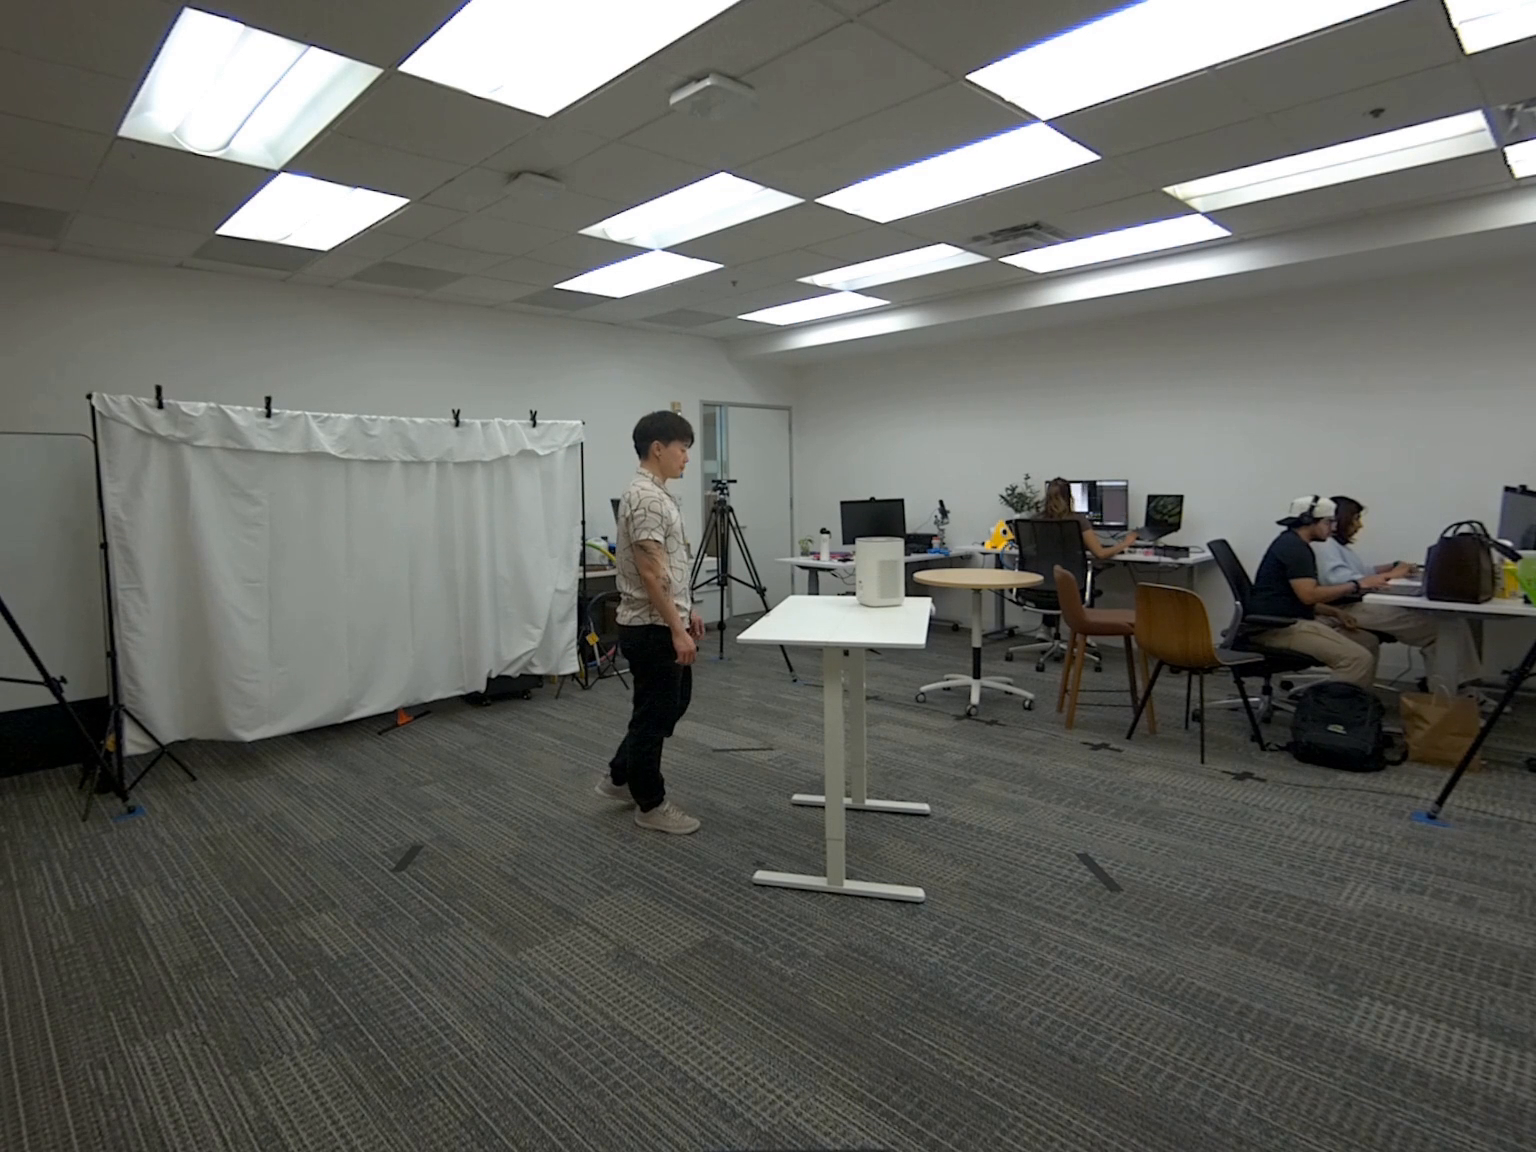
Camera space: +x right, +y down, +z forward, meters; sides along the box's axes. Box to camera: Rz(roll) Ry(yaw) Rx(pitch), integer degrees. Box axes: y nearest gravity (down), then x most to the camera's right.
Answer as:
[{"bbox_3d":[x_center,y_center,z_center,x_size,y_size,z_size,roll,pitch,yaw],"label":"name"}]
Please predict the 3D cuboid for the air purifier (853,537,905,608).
[{"bbox_3d":[0.450,-0.013,3.435,0.169,0.264,0.174,-2,5,-14],"label":"air purifier"}]
